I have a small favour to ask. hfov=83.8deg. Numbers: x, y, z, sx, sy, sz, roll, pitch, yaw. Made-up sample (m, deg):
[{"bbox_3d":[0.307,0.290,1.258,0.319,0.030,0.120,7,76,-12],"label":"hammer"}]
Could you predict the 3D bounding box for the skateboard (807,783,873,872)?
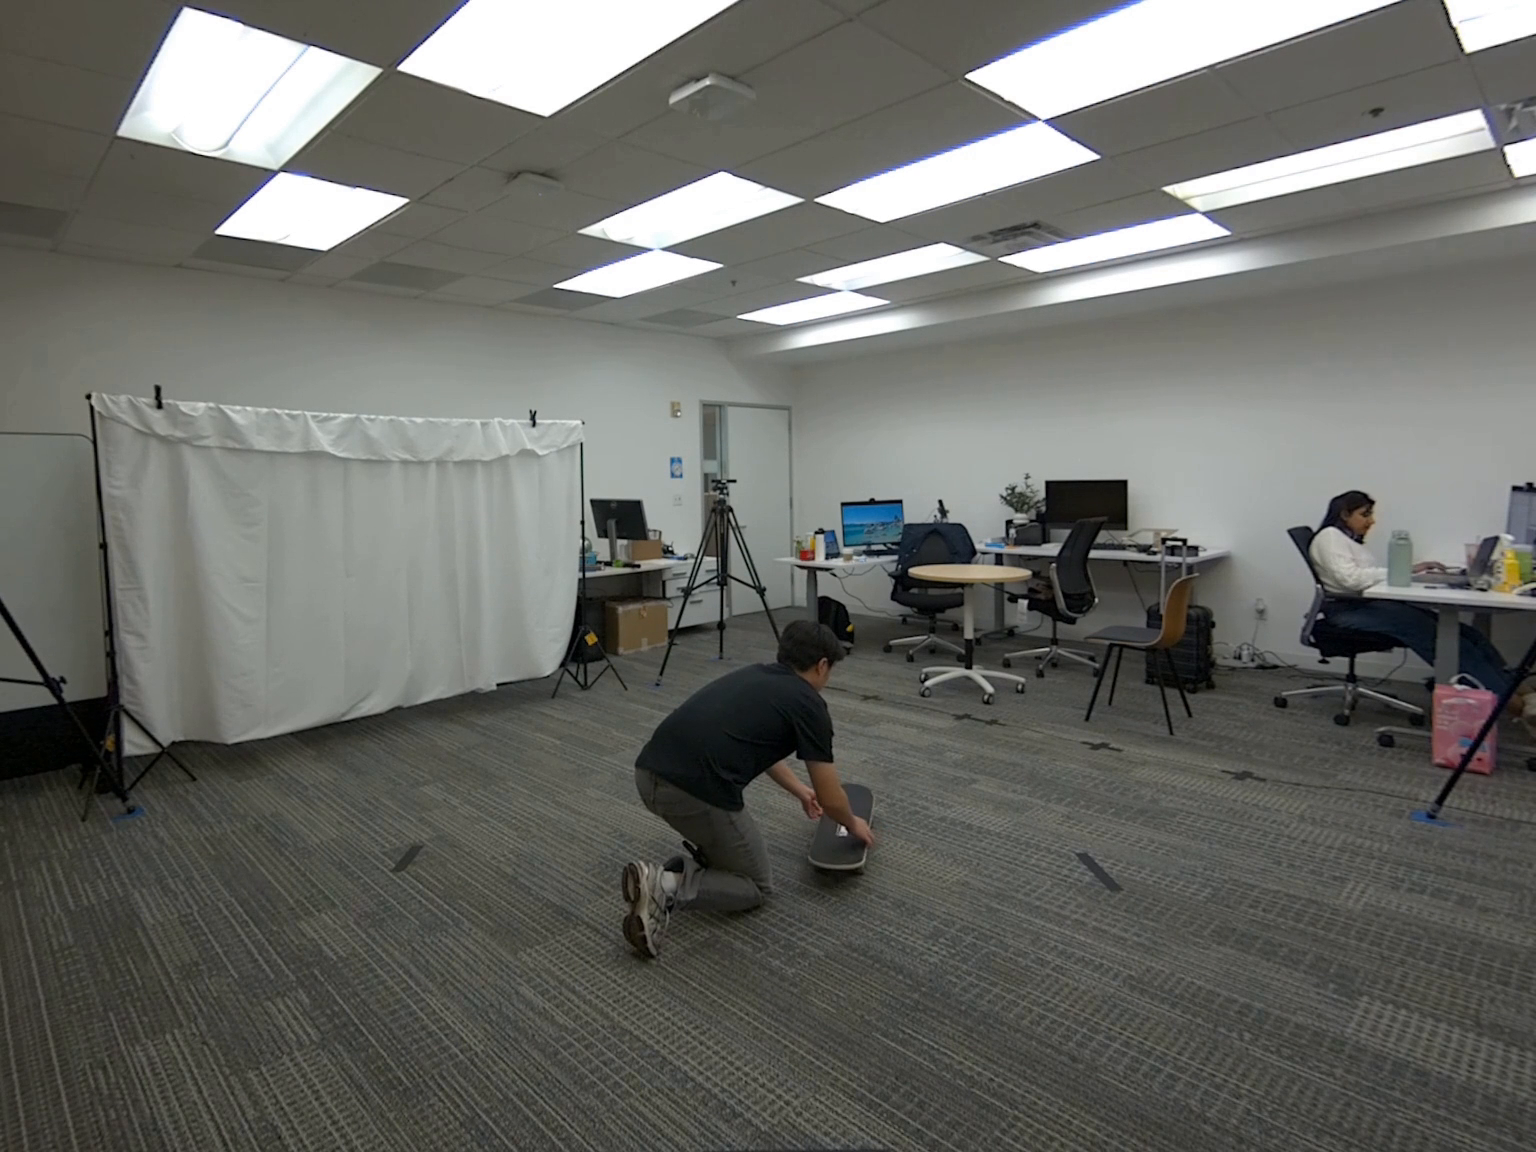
[{"bbox_3d":[0.288,0.964,3.231,0.195,0.110,0.781,0,7,9],"label":"skateboard"}]
